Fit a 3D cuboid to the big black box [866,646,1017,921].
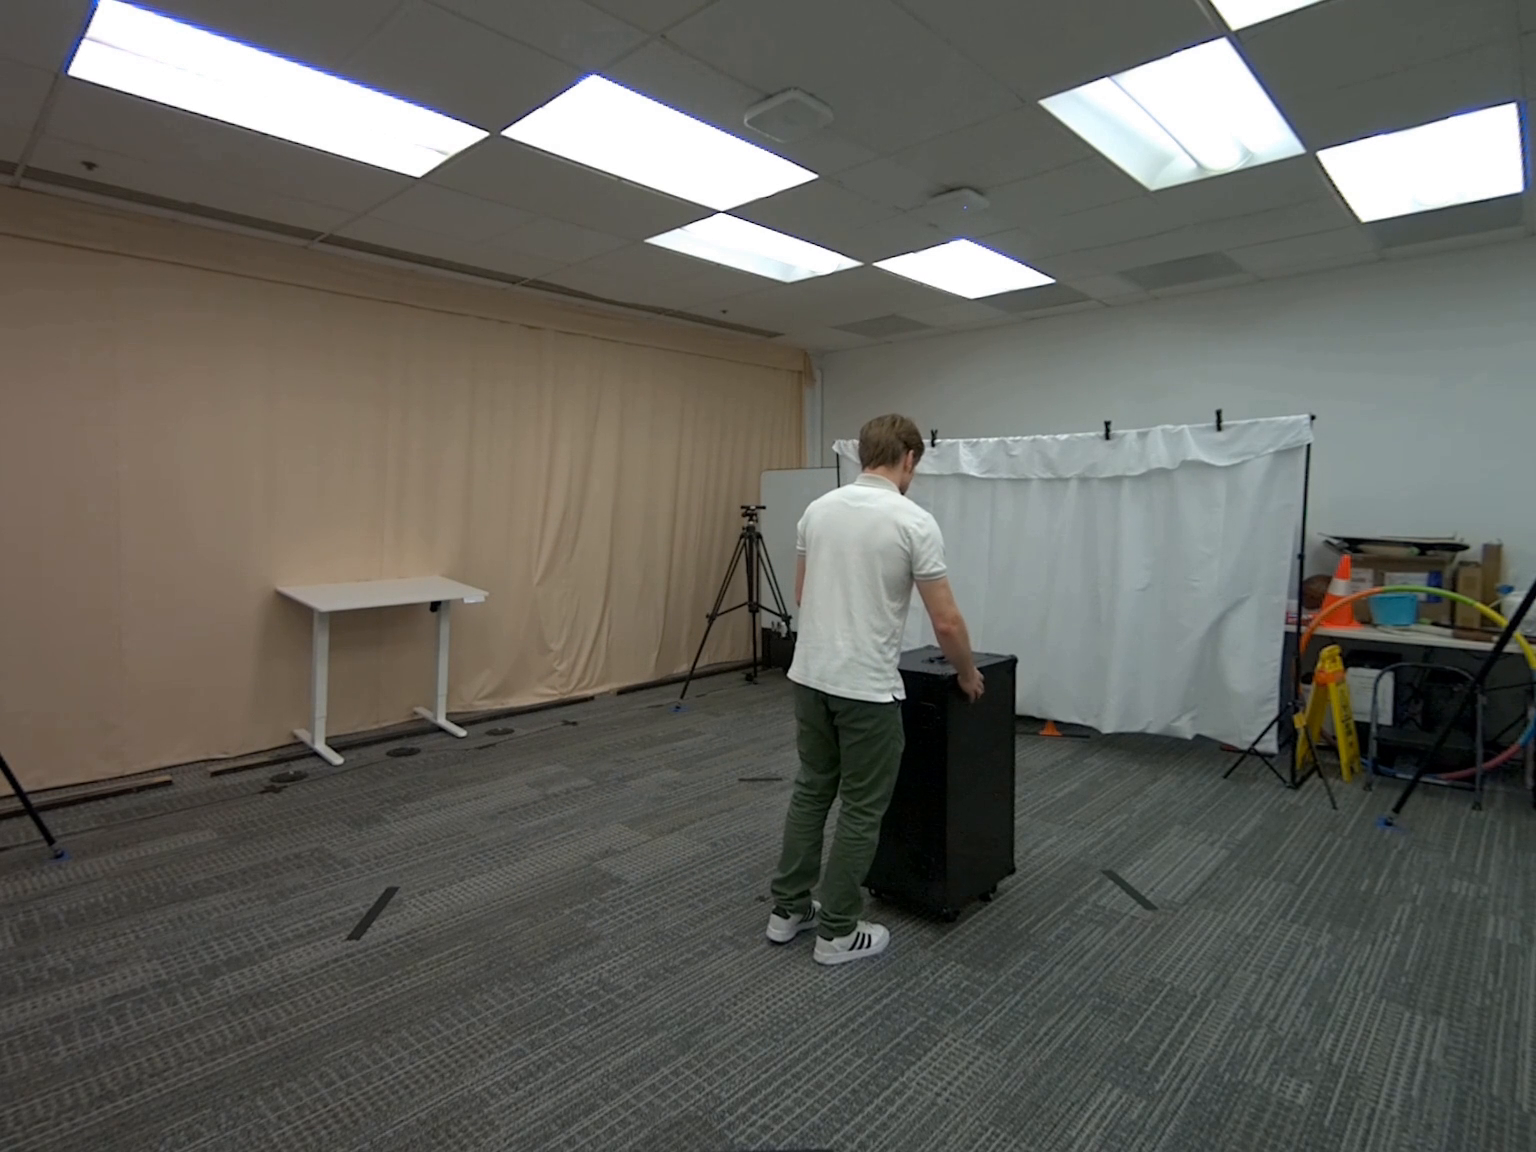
[{"bbox_3d":[0.598,0.722,2.968,0.398,0.867,0.507,2,4,43],"label":"big black box"}]
